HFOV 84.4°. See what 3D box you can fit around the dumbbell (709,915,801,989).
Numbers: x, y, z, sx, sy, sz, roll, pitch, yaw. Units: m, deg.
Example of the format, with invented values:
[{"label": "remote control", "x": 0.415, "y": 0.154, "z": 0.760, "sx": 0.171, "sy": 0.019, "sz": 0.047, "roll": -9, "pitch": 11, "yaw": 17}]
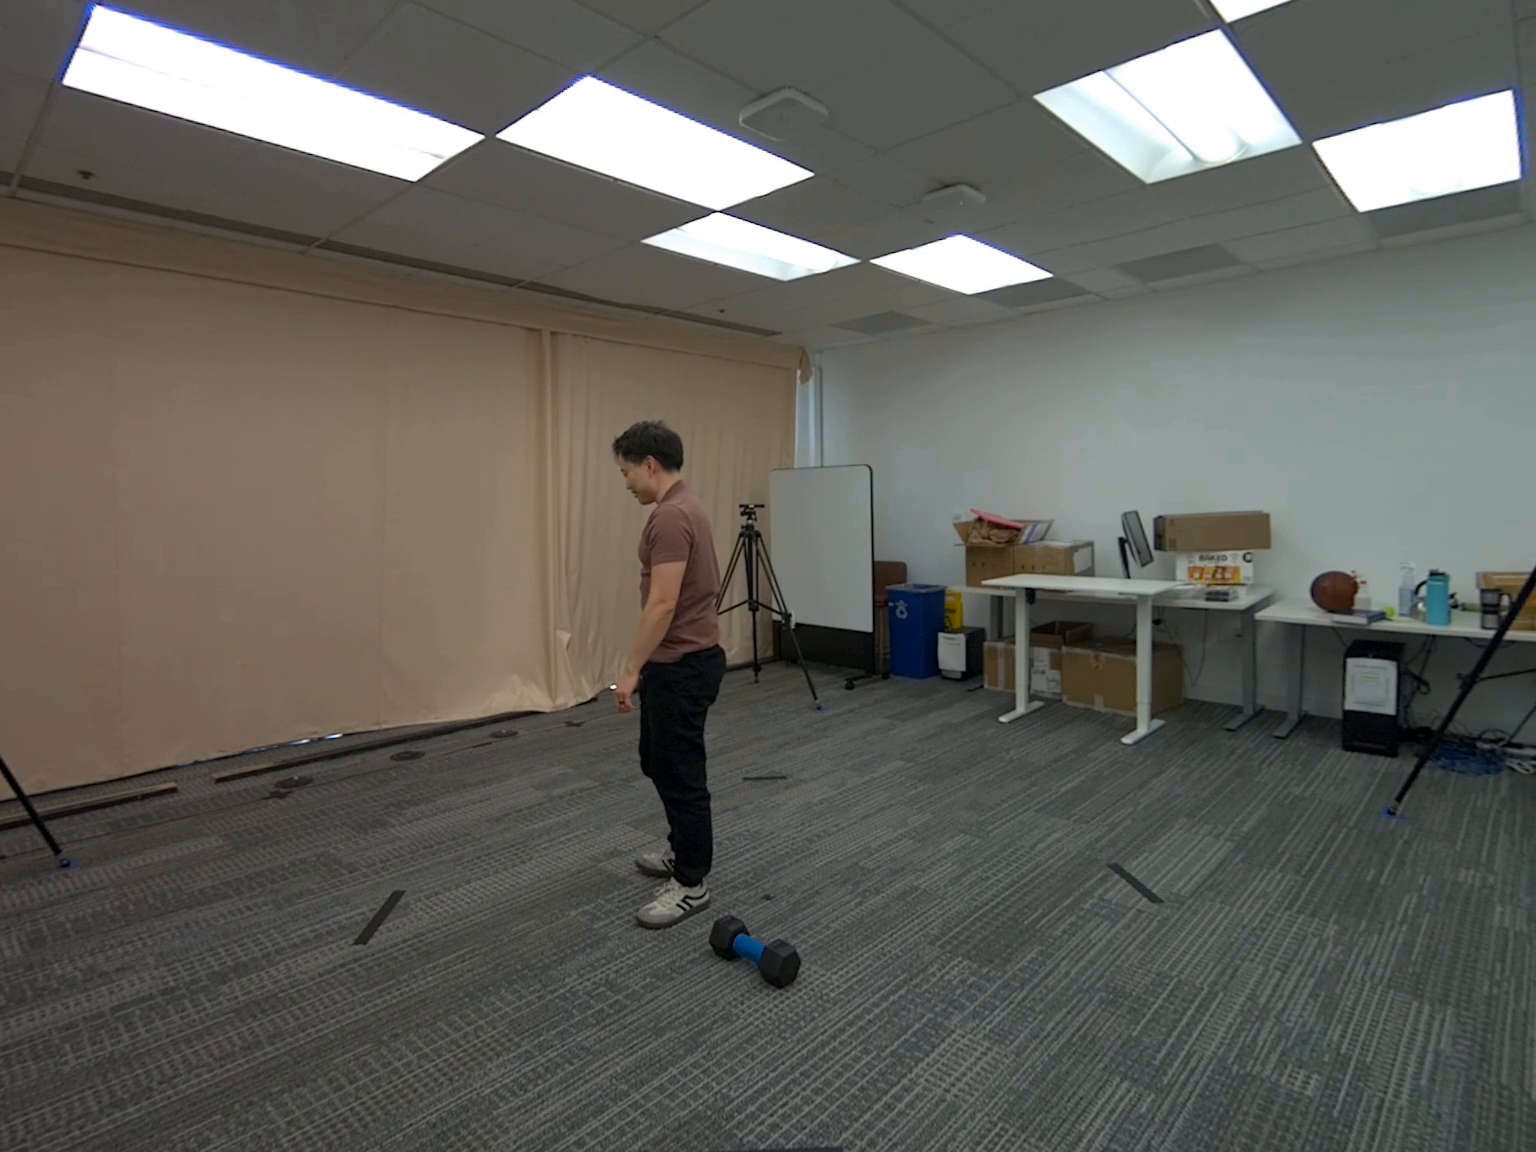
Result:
[{"label": "dumbbell", "x": -0.039, "y": 1.124, "z": 2.528, "sx": 0.303, "sy": 0.120, "sz": 0.107, "roll": 4, "pitch": 37, "yaw": 44}]
